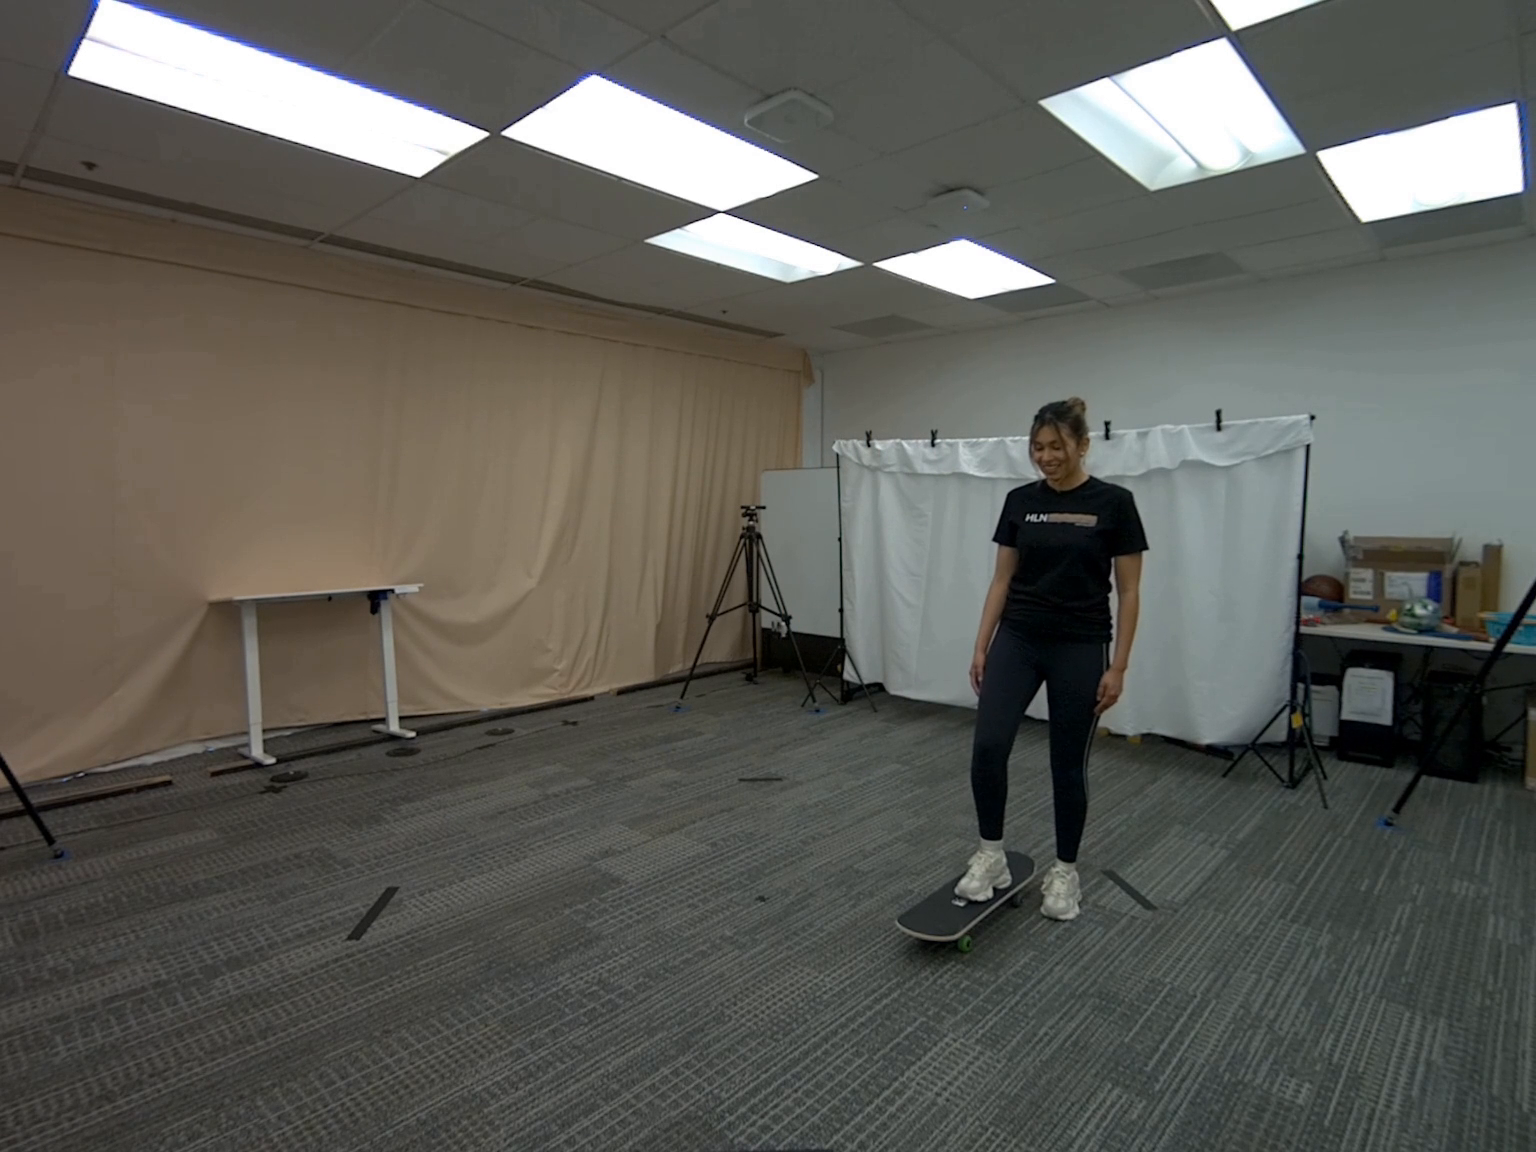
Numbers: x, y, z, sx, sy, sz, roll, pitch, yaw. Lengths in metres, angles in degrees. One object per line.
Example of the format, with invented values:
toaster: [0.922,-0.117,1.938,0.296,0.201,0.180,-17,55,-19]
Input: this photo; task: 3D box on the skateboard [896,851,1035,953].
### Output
skateboard: [0.689,1.102,2.818,0.200,0.110,0.762,3,6,41]
